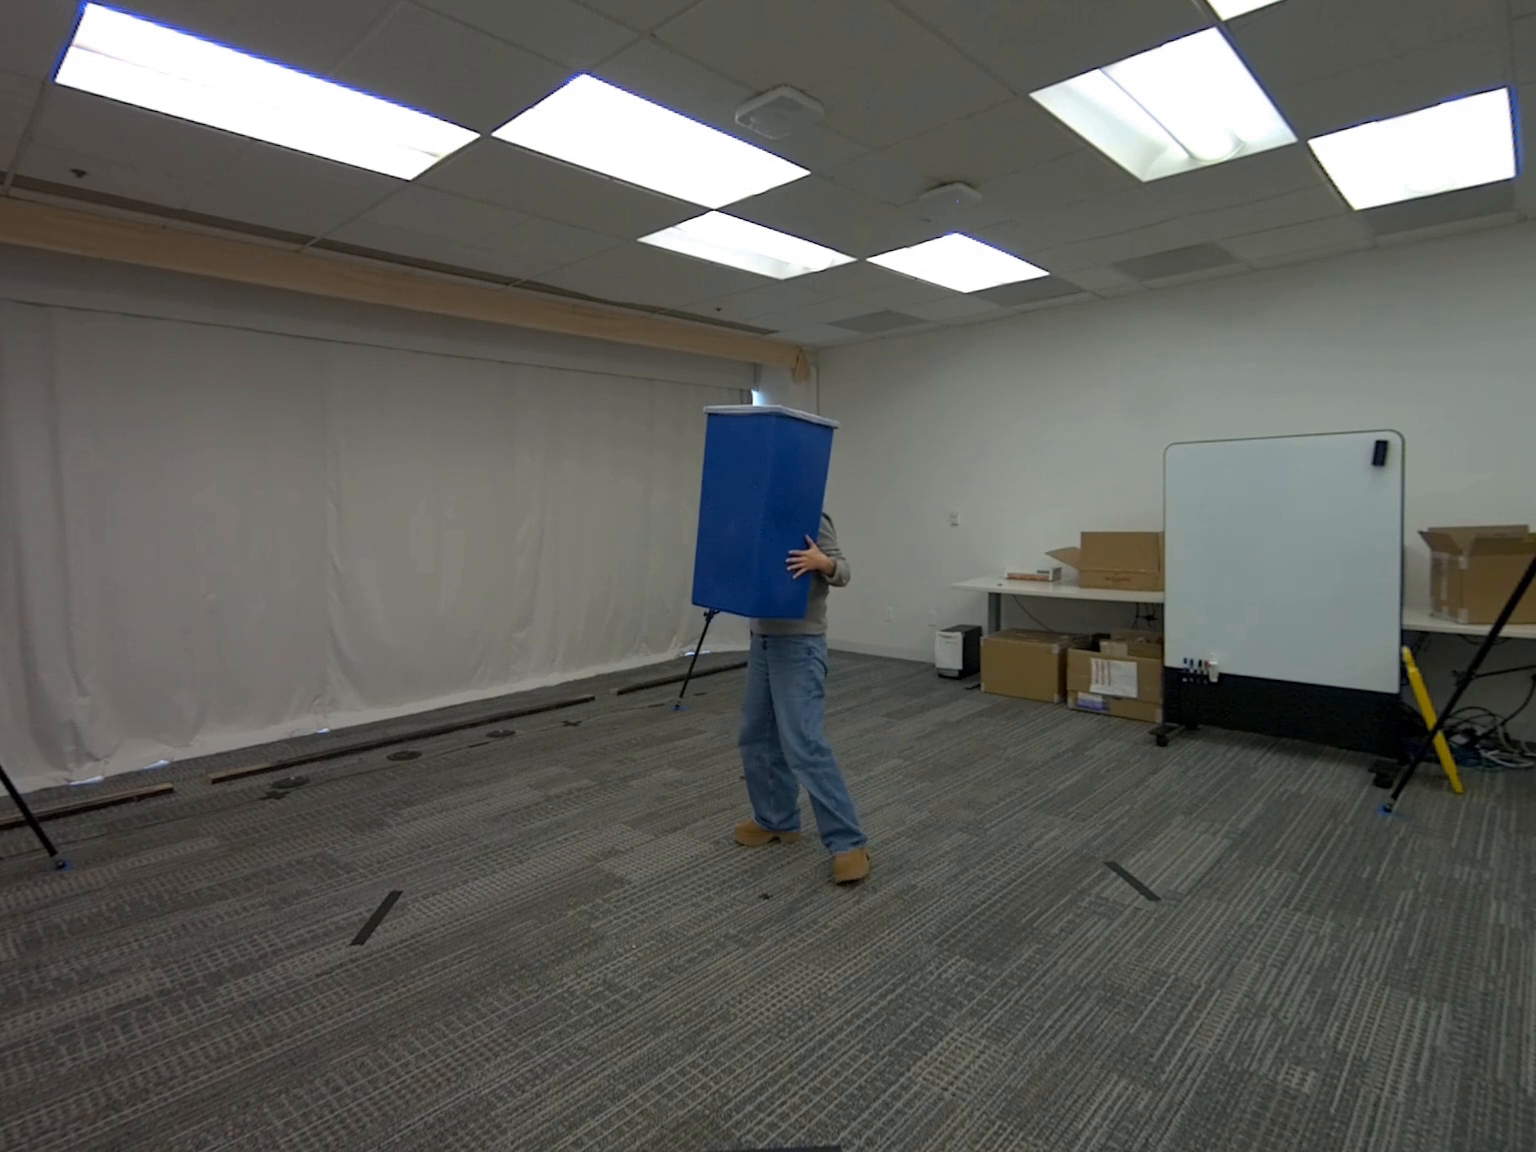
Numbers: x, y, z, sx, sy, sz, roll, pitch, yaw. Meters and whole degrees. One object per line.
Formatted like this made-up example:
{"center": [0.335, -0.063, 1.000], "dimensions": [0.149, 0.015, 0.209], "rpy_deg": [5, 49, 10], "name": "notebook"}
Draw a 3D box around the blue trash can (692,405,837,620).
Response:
{"center": [-0.020, -0.233, 3.006], "dimensions": [0.391, 0.713, 0.361], "rpy_deg": [7, 2, 43], "name": "blue trash can"}
